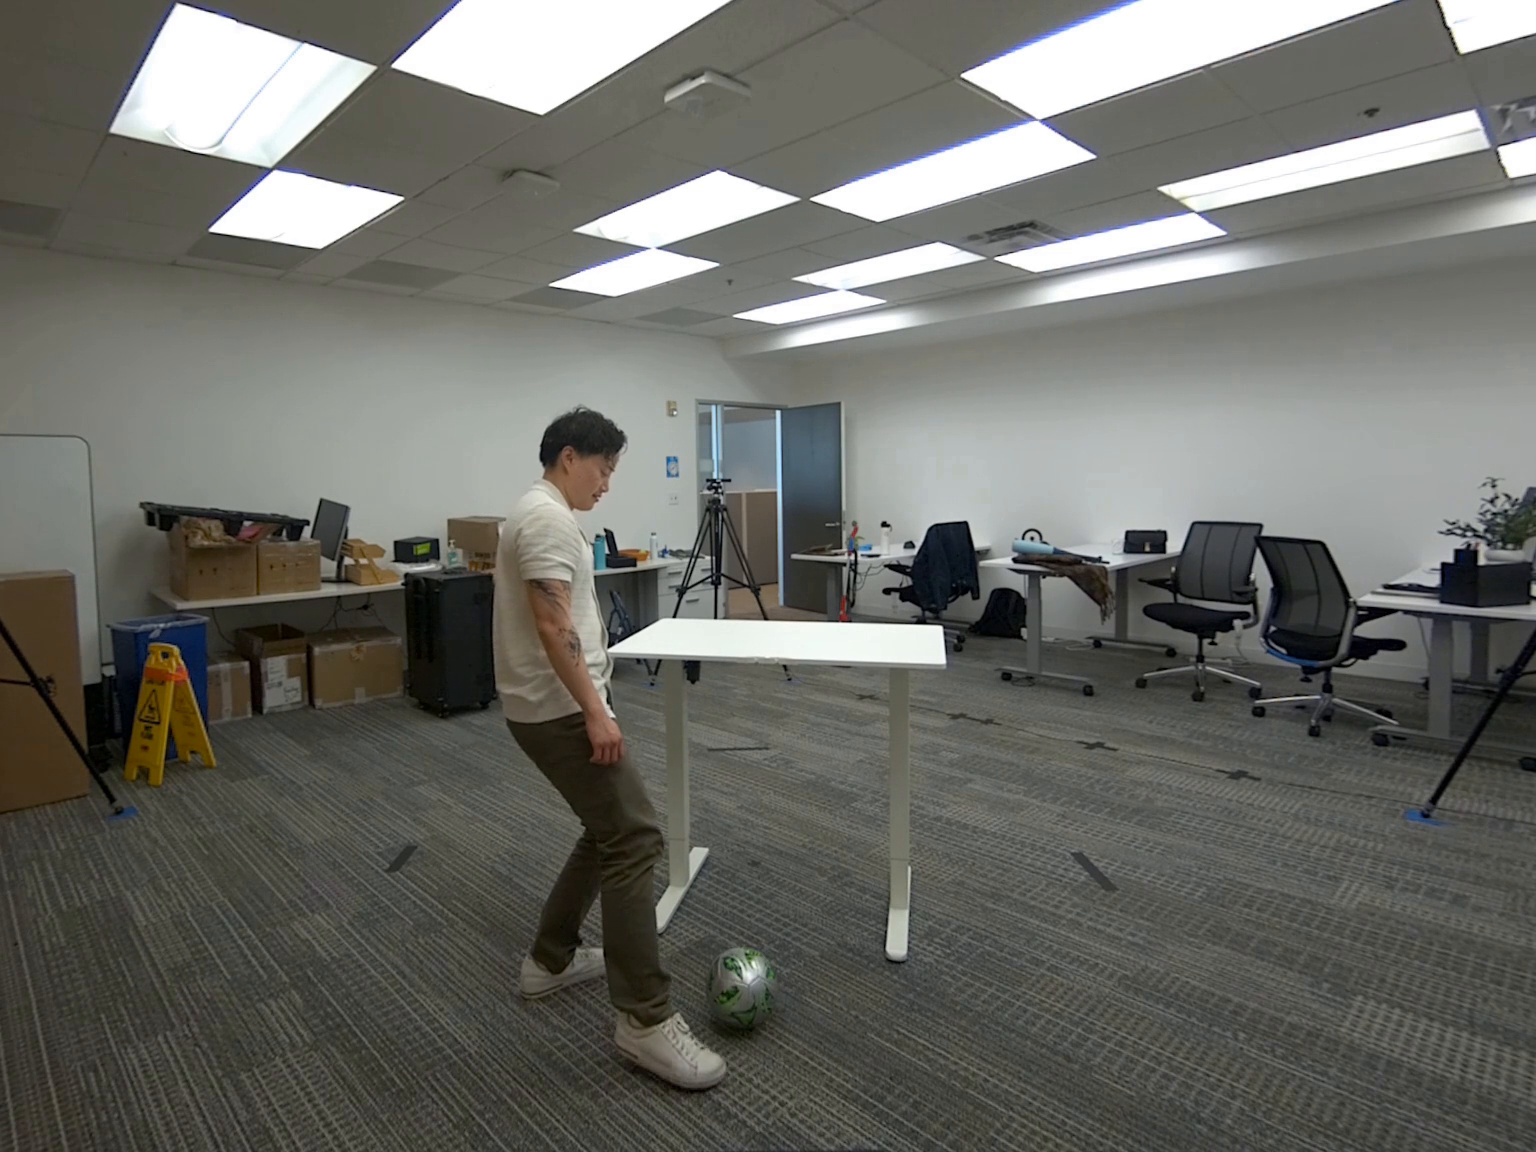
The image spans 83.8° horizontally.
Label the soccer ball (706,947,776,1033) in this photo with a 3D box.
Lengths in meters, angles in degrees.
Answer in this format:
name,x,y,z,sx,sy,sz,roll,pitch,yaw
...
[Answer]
name,x,y,z,sx,sy,sz,roll,pitch,yaw
soccer ball,-0.065,1.057,2.204,0.187,0.187,0.188,-1,5,-2
